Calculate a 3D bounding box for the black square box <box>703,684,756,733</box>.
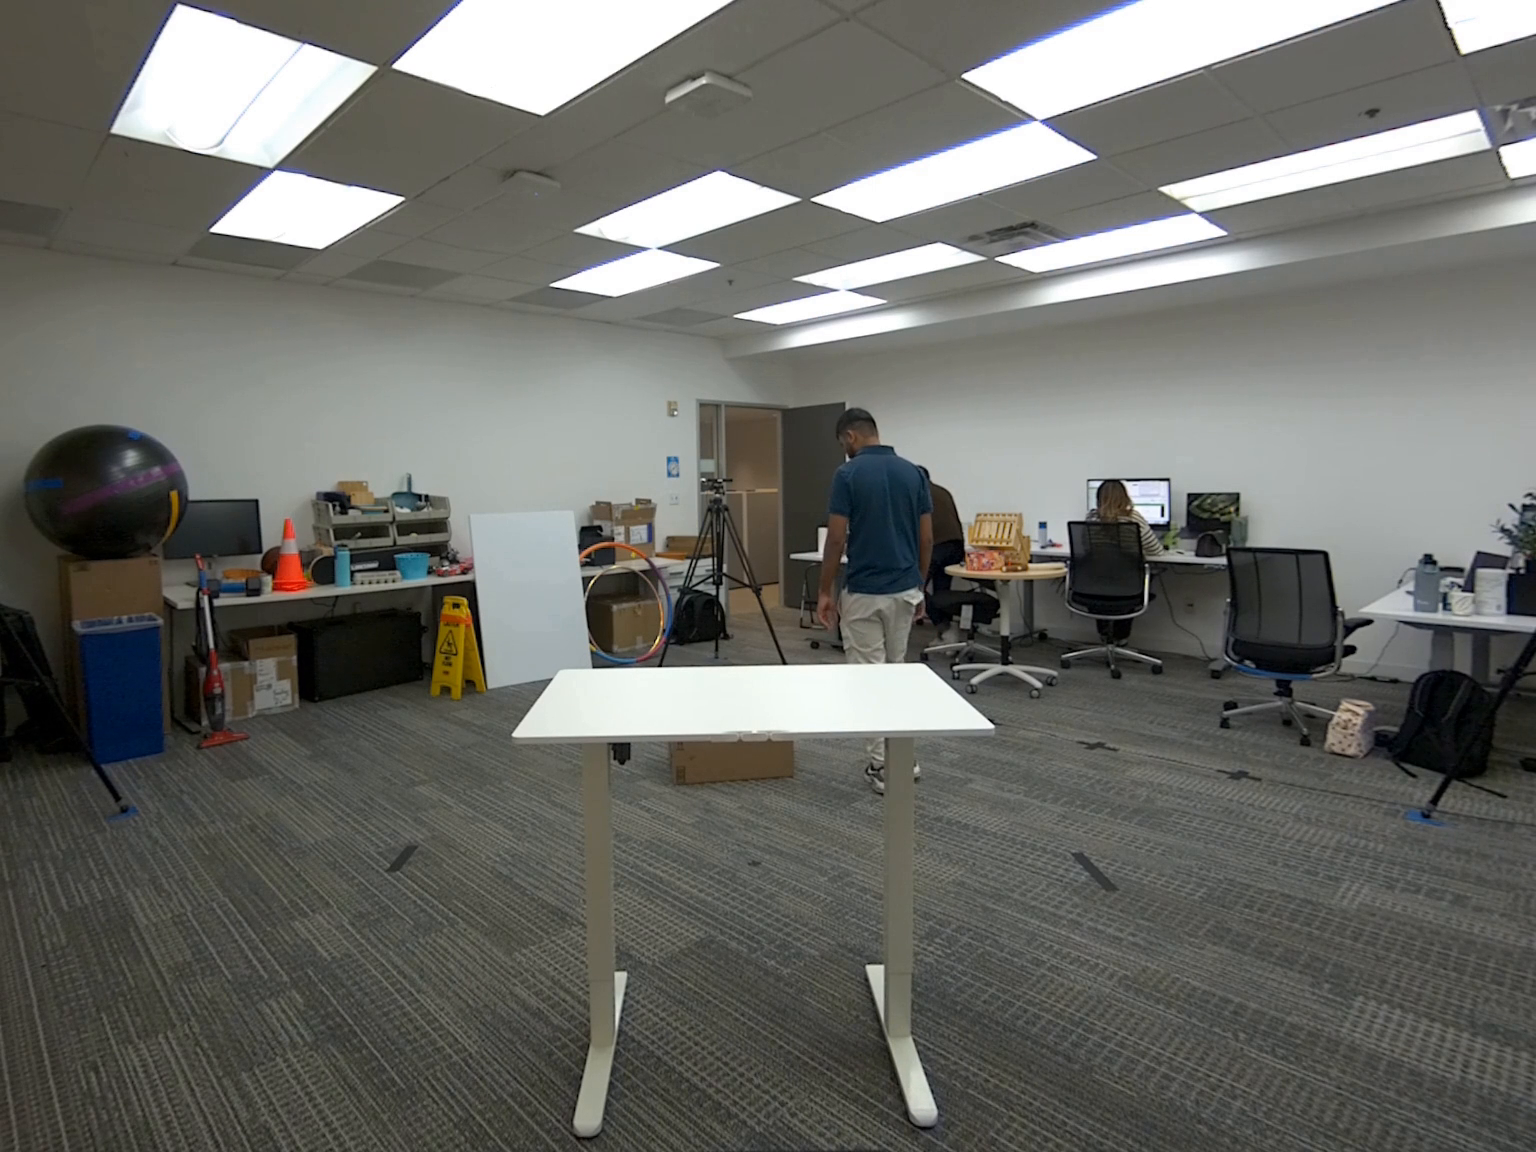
[{"bbox_3d":[-0.191,0.633,4.144,0.215,0.155,0.231,-3,7,-8],"label":"black square box"}]
